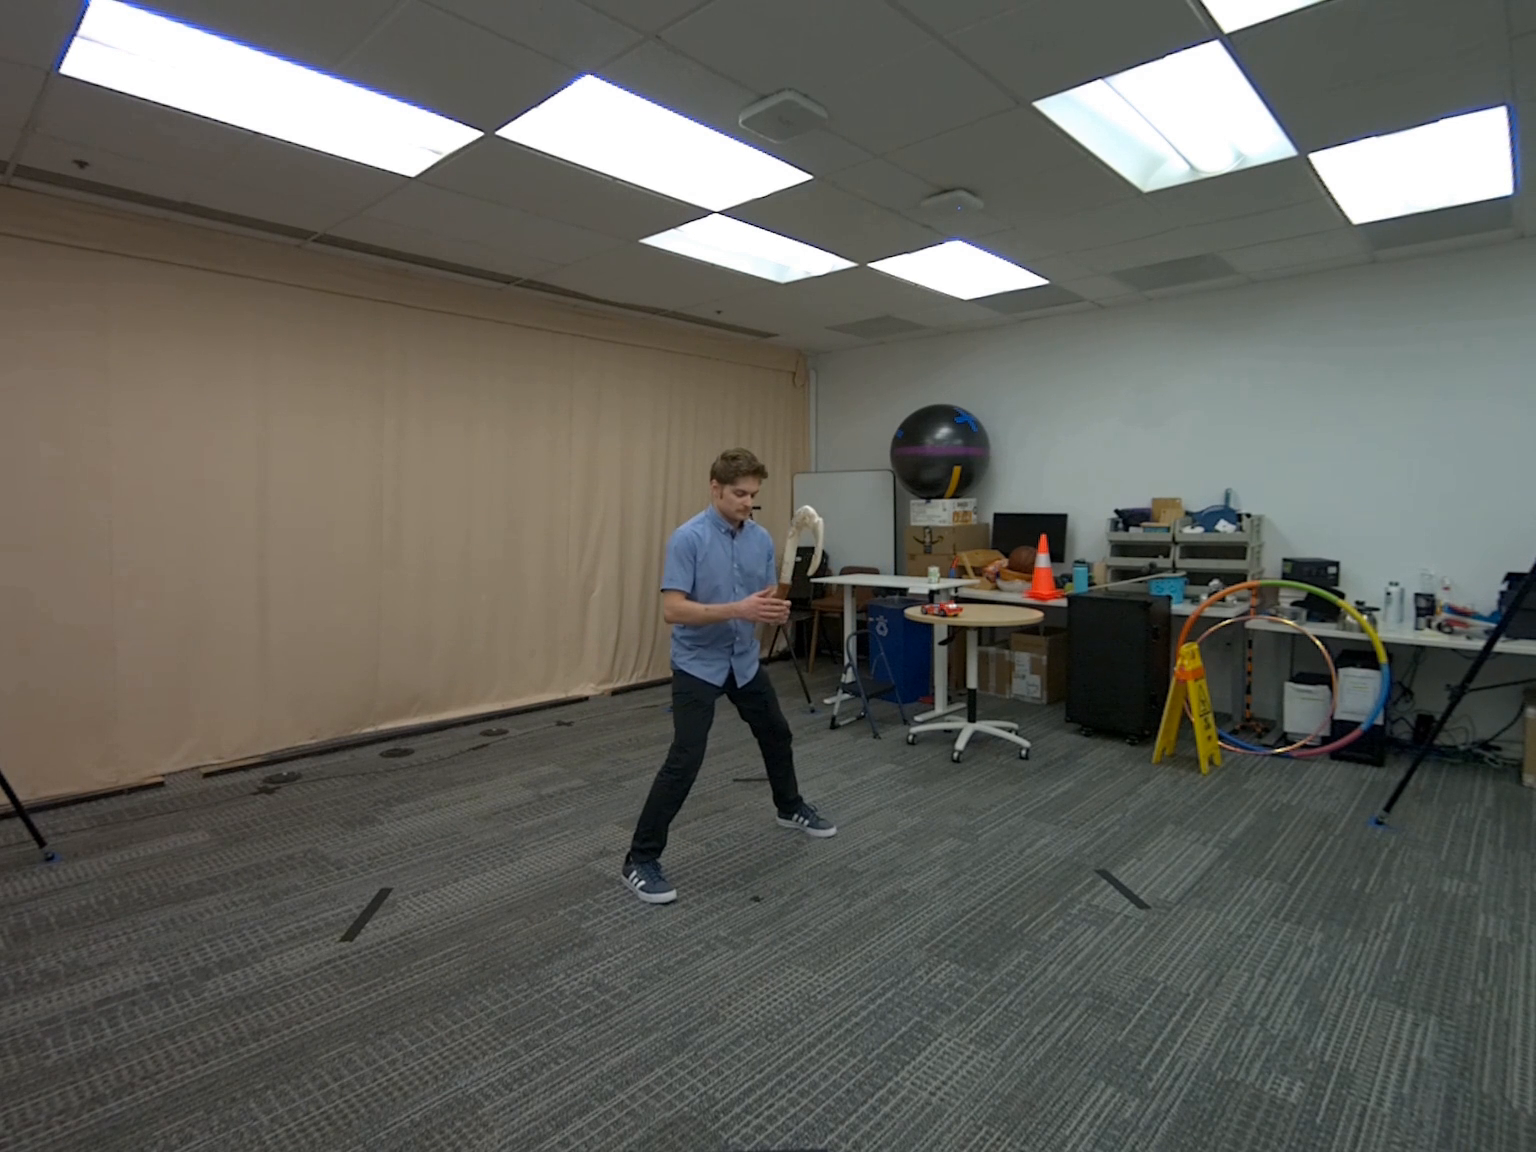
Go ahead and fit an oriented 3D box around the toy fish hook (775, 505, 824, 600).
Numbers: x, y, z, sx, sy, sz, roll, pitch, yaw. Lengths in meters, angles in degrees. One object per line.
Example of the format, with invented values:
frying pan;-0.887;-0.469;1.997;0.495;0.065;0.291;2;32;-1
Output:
toy fish hook;0.097;-0.004;2.924;0.047;0.502;0.231;3;32;-24
